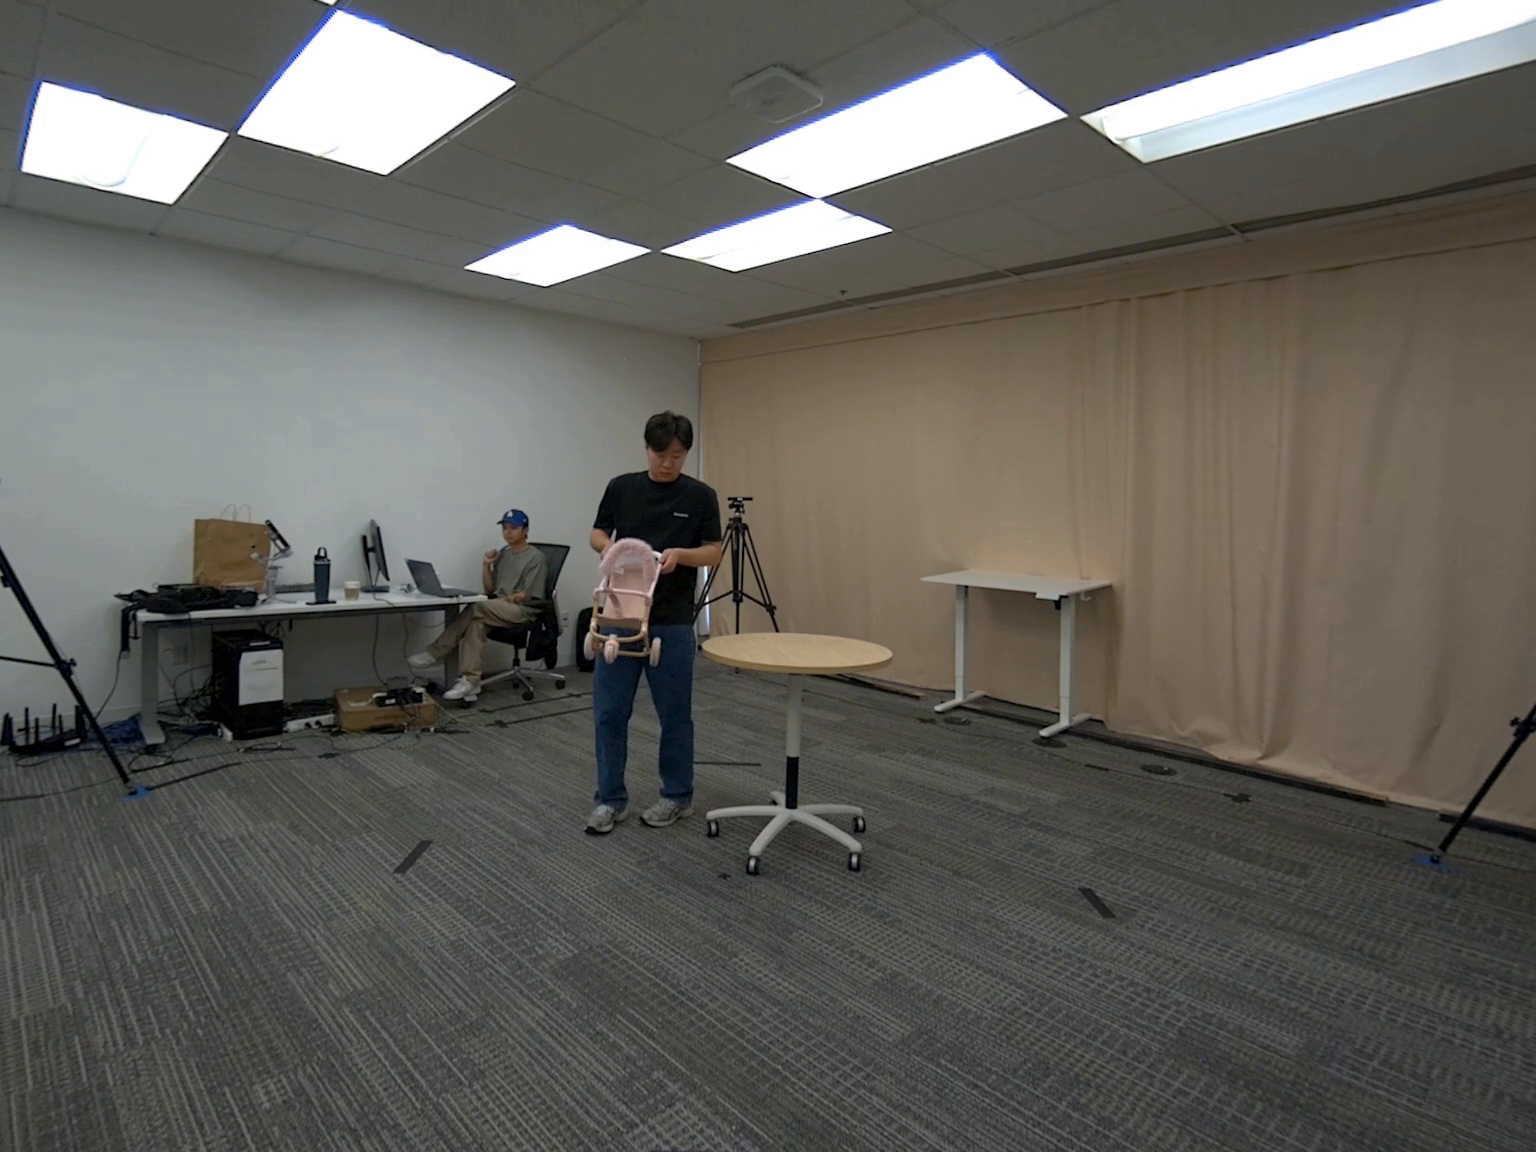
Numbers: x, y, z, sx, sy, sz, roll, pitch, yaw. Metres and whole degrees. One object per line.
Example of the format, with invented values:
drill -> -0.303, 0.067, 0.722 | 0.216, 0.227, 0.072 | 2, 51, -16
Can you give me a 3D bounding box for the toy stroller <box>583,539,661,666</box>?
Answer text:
toy stroller -> -0.555, 0.098, 3.159 | 0.283, 0.542, 0.335 | 4, -21, 6
